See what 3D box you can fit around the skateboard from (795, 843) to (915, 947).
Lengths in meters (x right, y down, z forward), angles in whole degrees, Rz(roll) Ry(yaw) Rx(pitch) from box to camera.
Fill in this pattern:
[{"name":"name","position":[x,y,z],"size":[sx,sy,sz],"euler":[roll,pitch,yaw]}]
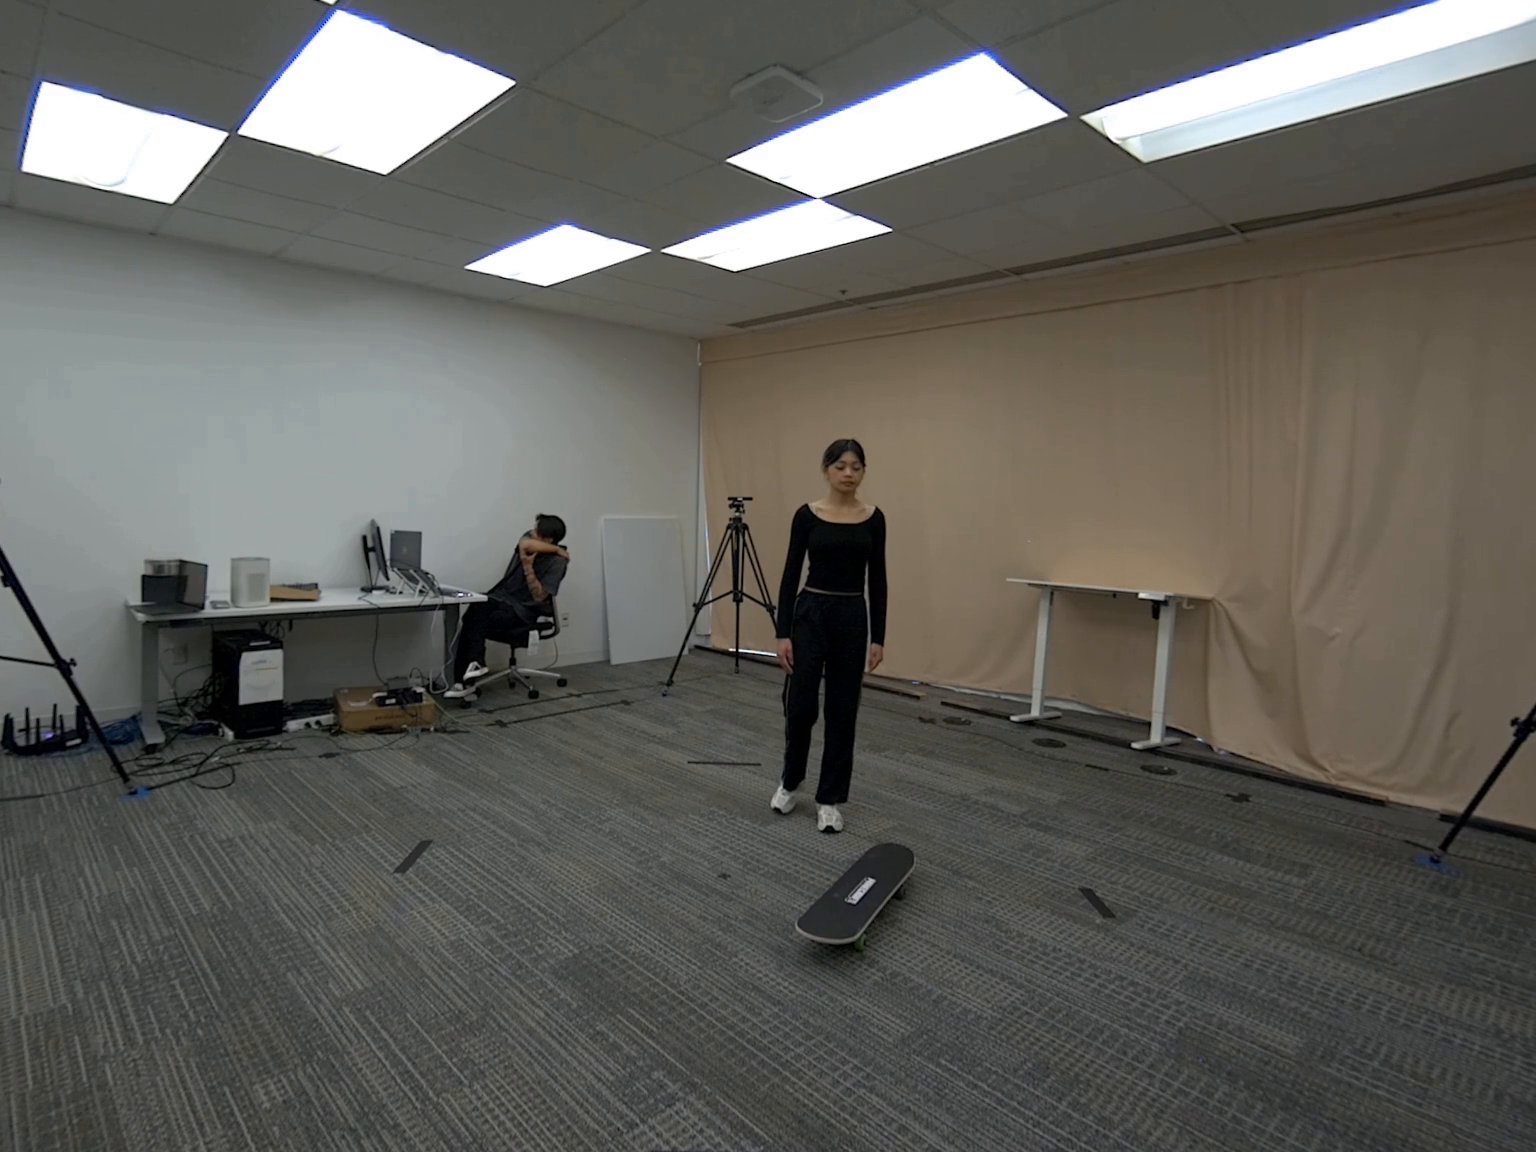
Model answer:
[{"name":"skateboard","position":[0.299,1.084,2.819],"size":[0.197,0.110,0.772],"euler":[4,6,26]}]
